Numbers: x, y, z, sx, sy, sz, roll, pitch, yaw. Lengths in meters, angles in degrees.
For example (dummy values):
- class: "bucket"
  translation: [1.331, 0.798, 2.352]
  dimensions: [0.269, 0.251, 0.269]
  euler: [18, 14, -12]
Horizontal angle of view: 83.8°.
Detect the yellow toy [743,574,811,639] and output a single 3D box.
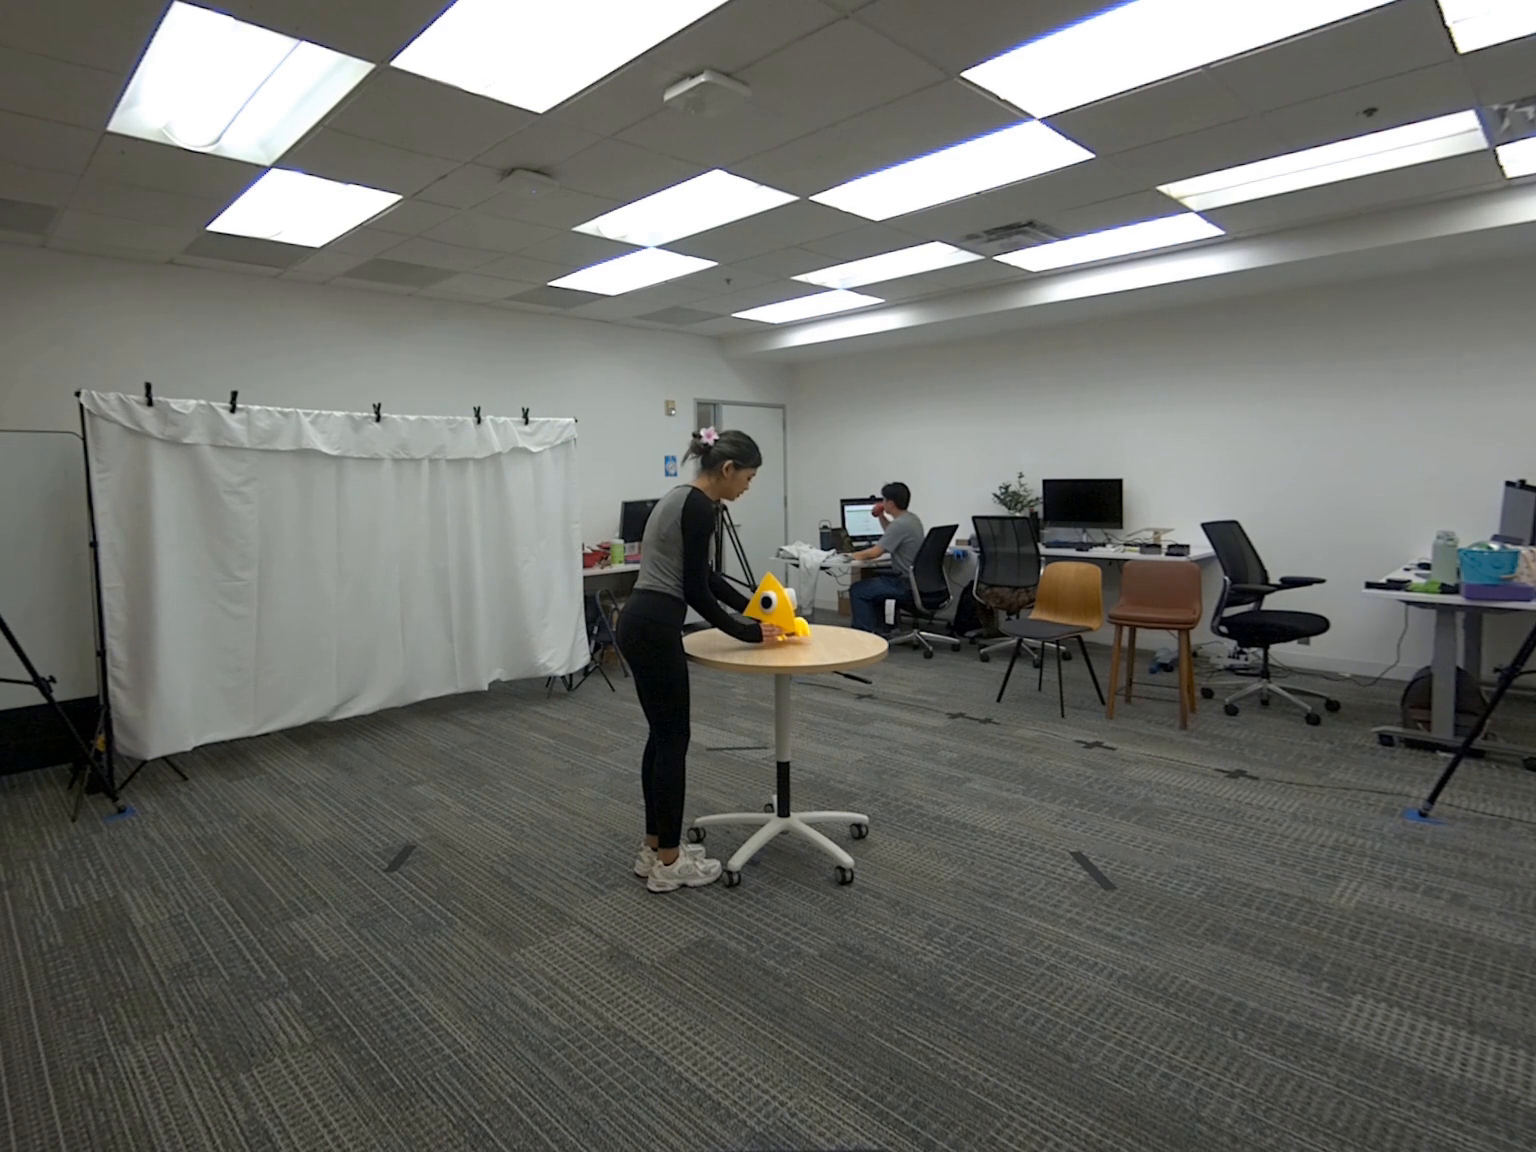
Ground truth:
- class: "yellow toy"
  translation: [0.044, 0.091, 3.109]
  dimensions: [0.200, 0.230, 0.198]
  euler: [-6, 4, -34]
